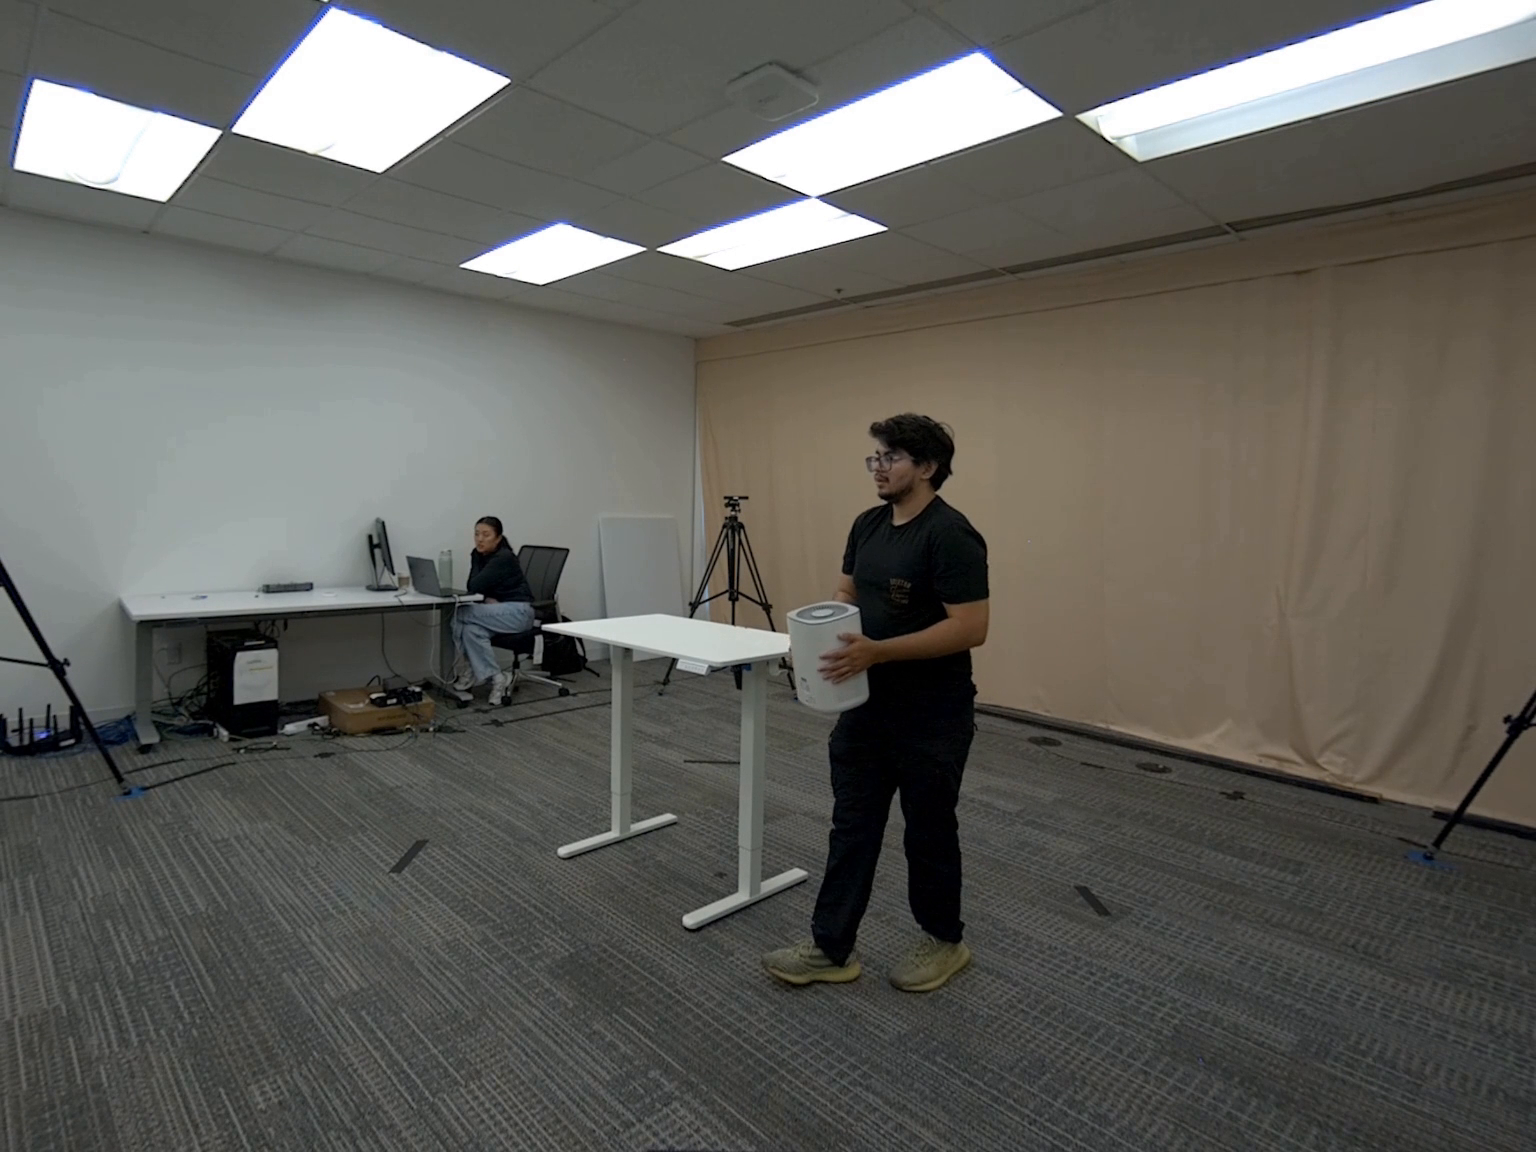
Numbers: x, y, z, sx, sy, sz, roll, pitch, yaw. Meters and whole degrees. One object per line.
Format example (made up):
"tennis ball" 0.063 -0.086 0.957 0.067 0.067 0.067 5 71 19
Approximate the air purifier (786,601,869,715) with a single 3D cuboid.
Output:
"air purifier" 0.161 0.223 2.290 0.169 0.263 0.175 -14 13 -29
